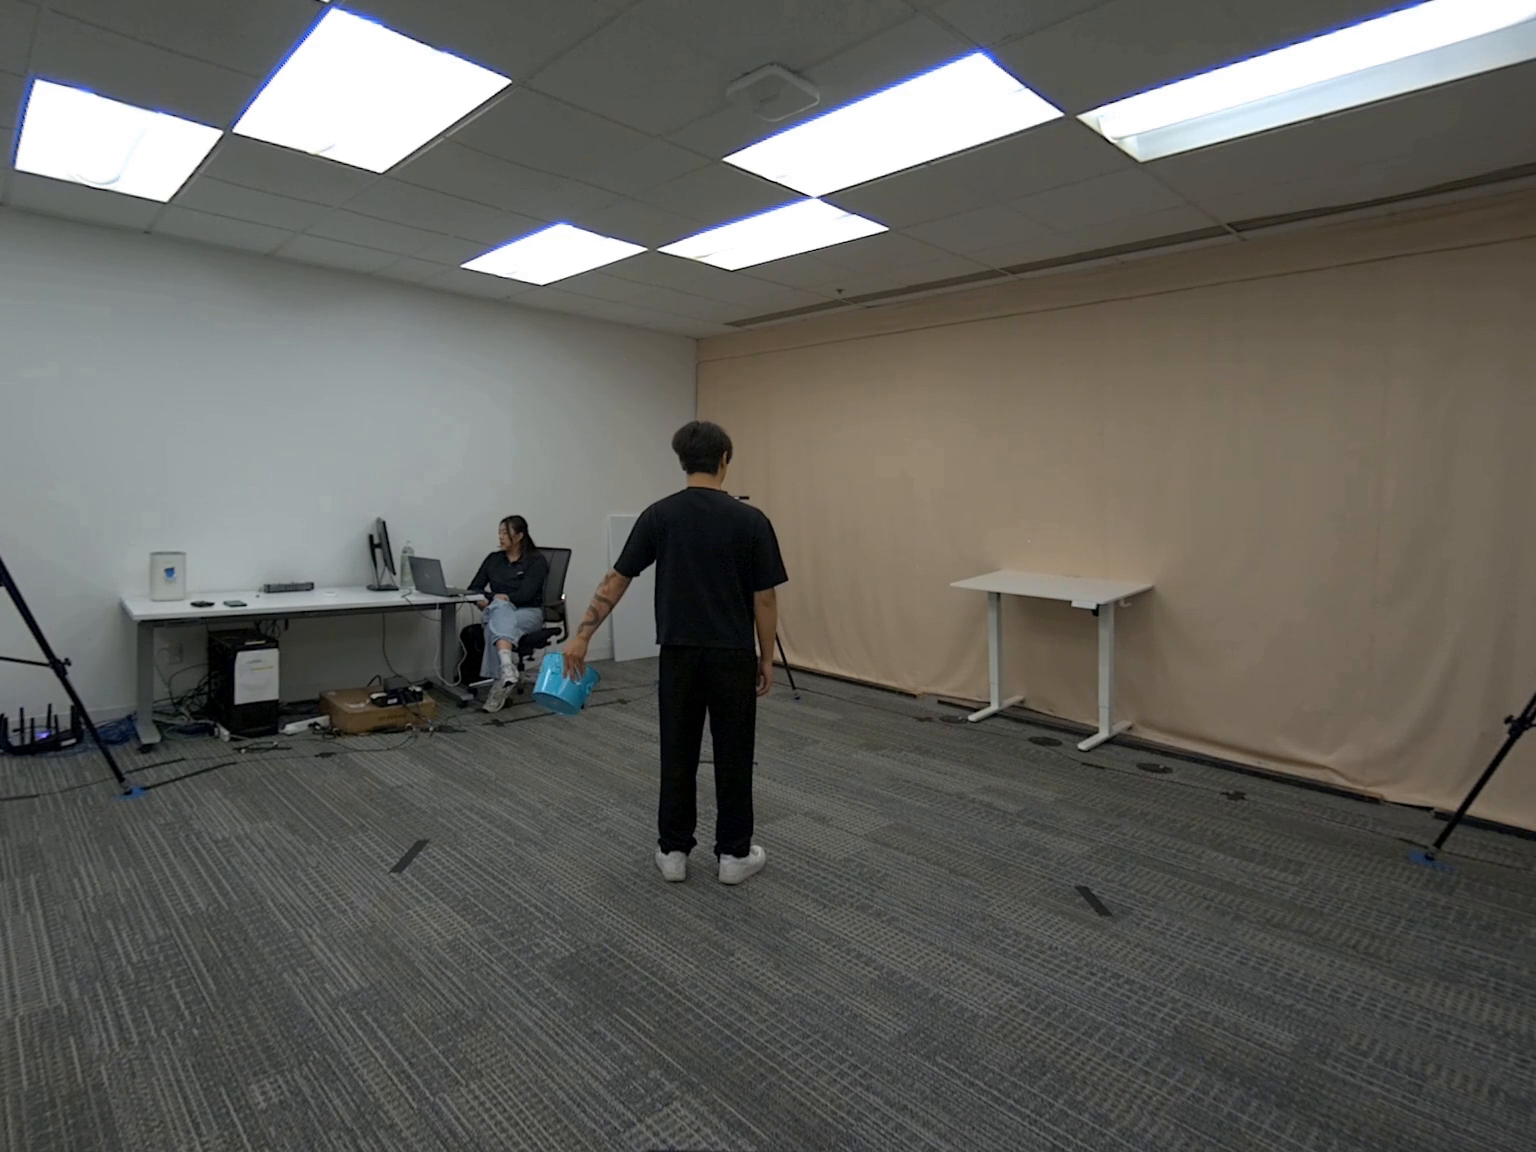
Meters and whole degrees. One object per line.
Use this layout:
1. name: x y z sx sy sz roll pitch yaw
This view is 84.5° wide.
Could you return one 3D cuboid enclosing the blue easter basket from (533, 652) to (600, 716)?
1. blue easter basket: -0.744 0.402 3.100 0.246 0.157 0.239 15 -30 8
